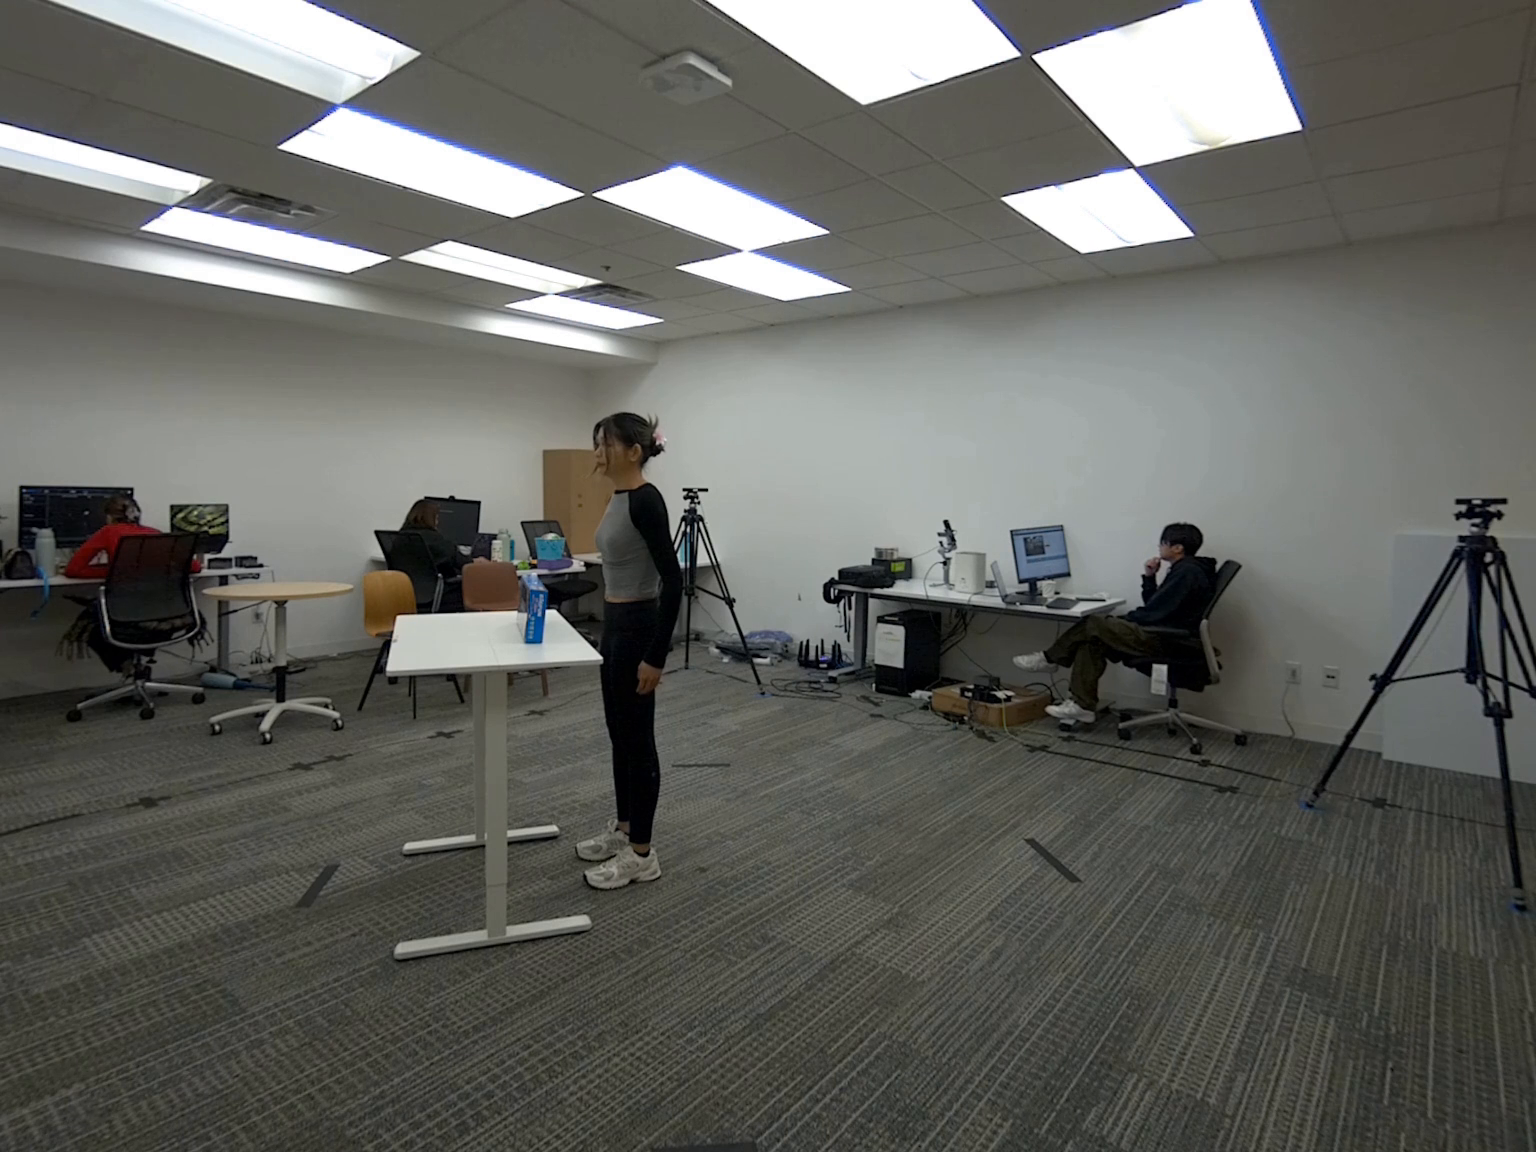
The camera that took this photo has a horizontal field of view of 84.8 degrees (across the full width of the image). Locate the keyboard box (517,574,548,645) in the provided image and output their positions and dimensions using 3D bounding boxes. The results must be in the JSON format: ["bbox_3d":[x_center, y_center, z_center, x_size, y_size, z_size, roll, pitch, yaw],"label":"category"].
[{"bbox_3d":[-0.825,0.104,2.941,0.058,0.175,0.447,5,5,-20],"label":"keyboard box"}]
